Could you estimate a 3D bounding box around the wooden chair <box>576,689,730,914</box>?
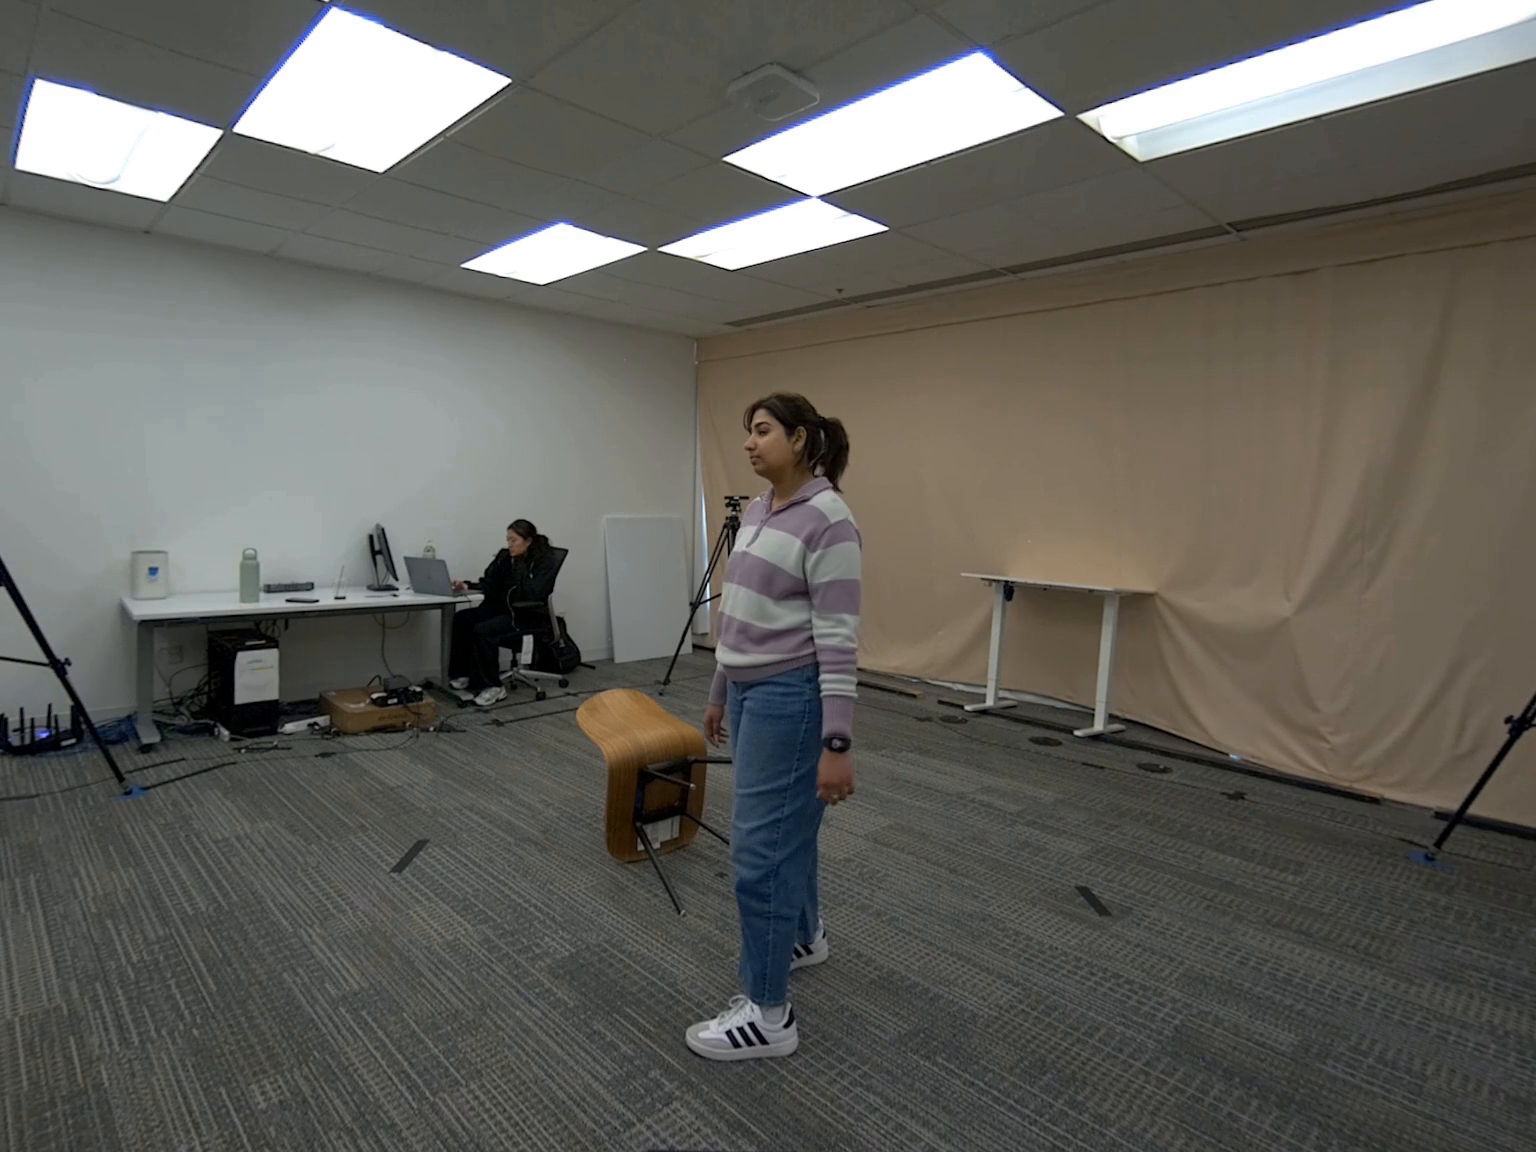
[{"bbox_3d":[-0.401,0.832,3.228,0.467,0.519,0.903,-3,15,-42],"label":"wooden chair"}]
